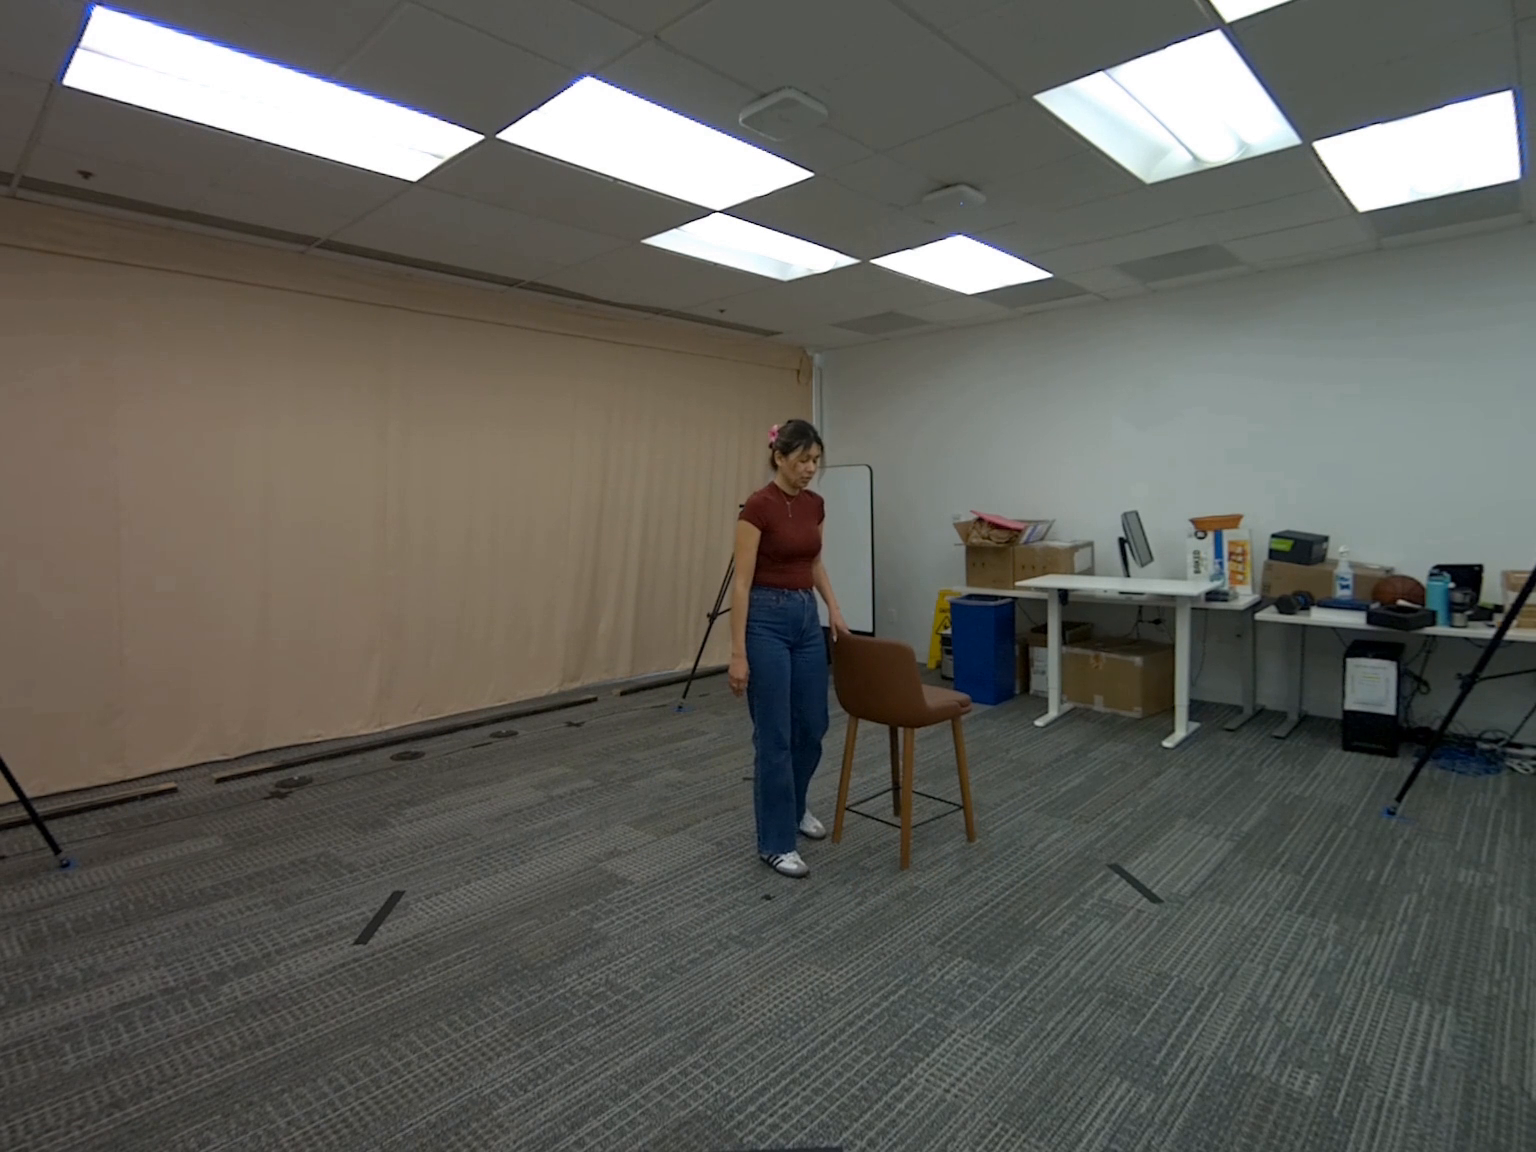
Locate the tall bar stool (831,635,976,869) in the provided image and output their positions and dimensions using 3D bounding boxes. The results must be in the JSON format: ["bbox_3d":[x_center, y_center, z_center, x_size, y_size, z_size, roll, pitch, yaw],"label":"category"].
[{"bbox_3d":[0.547,0.656,3.436,0.454,0.887,0.472,-6,6,-42],"label":"tall bar stool"}]
